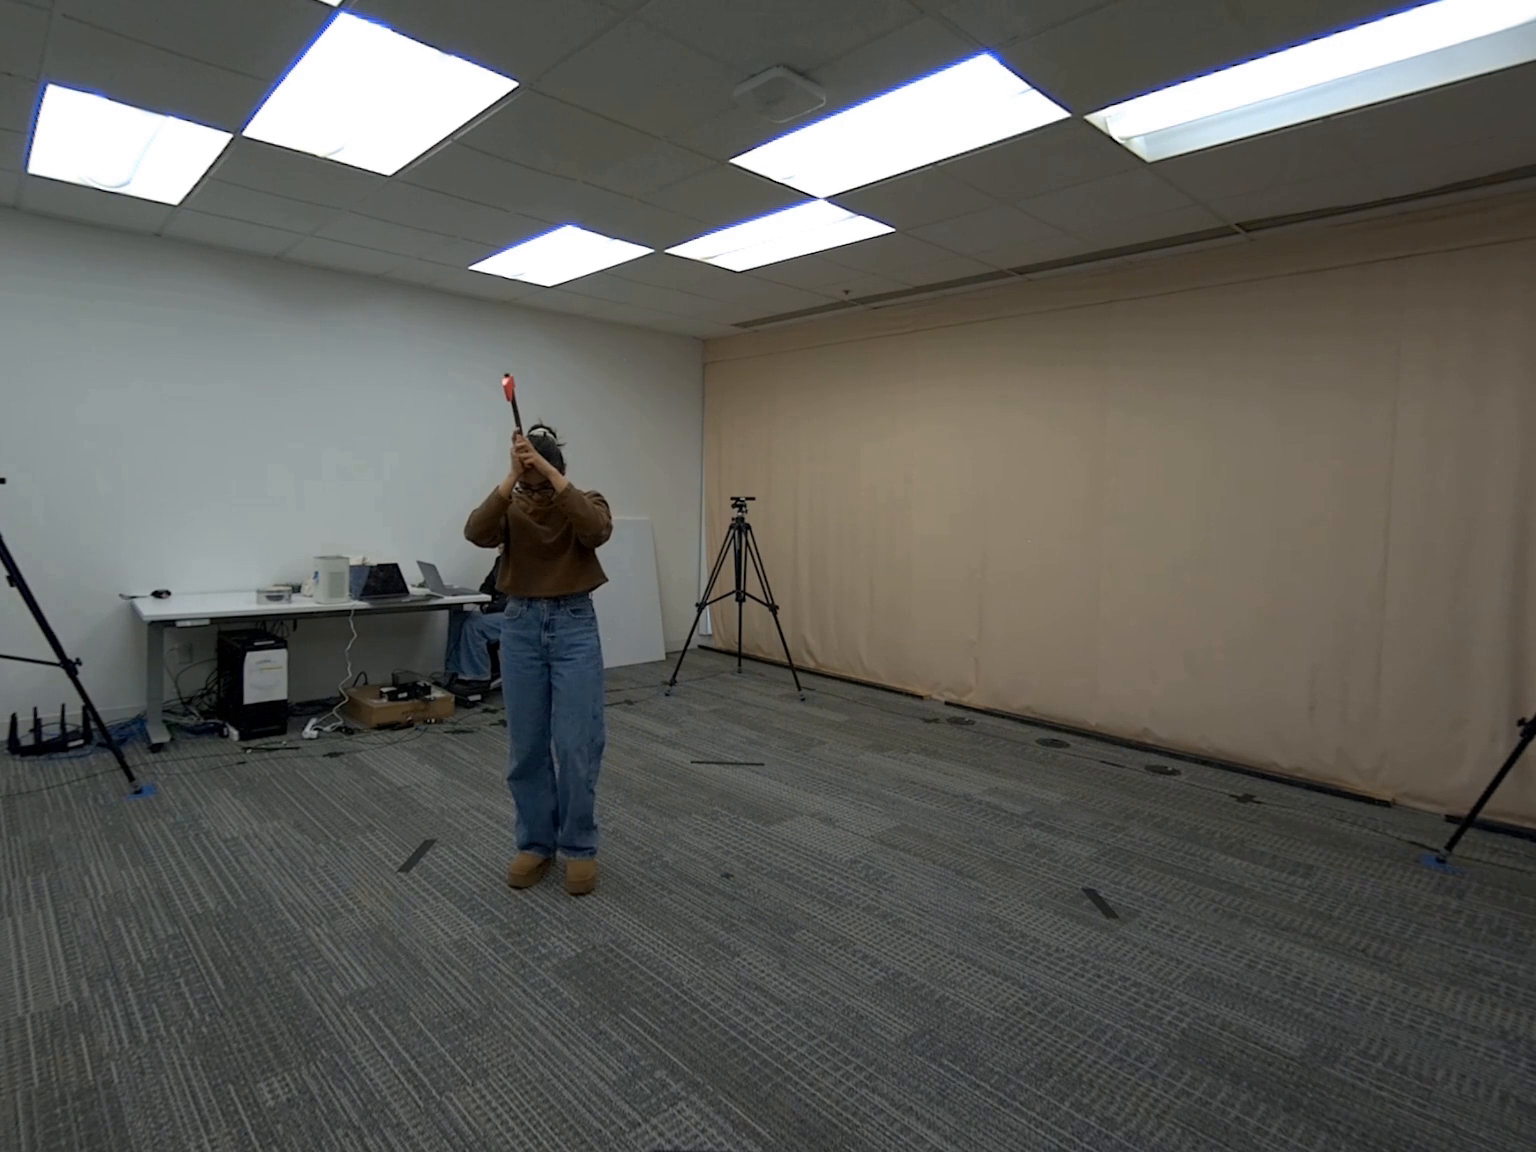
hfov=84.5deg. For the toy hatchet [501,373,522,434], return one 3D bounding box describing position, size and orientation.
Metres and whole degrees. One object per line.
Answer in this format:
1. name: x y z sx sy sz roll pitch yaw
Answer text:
1. toy hatchet: -0.835 -0.532 2.740 0.029 0.268 0.132 -7 7 -1
